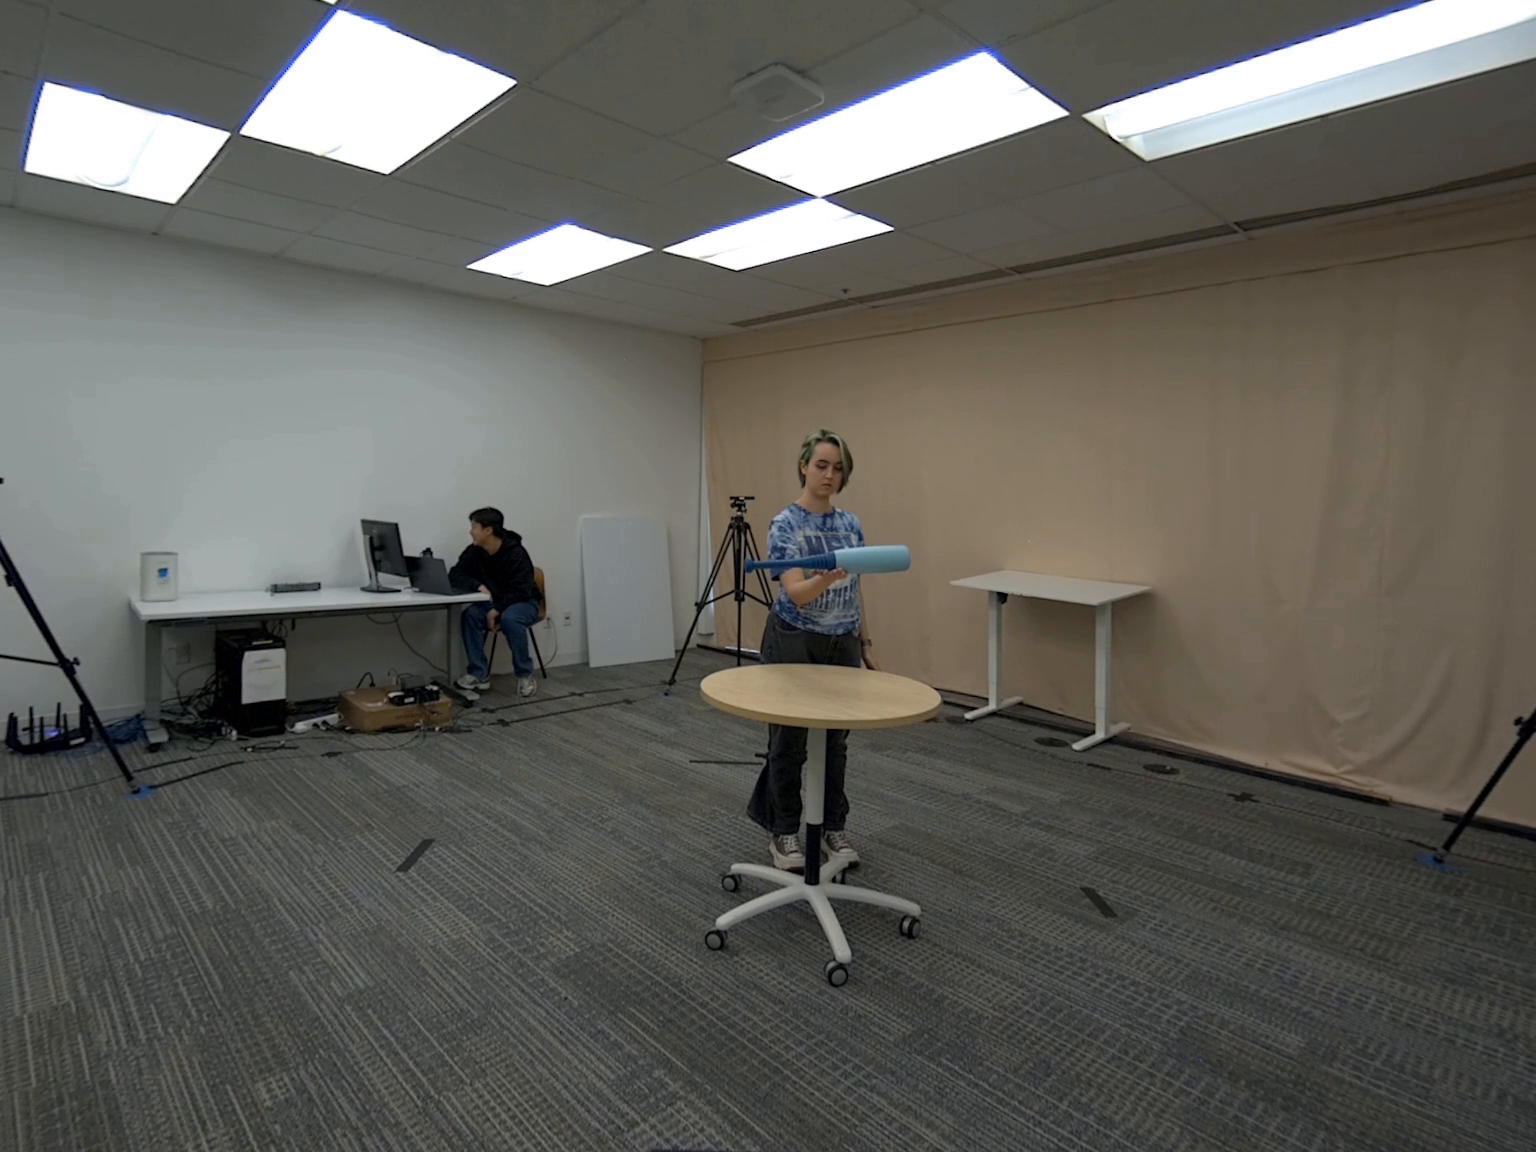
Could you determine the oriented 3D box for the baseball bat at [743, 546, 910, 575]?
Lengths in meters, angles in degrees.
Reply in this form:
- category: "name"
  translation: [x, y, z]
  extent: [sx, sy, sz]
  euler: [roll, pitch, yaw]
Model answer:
- category: "baseball bat"
  translation: [0.187, -0.041, 2.716]
  extent: [0.539, 0.089, 0.090]
  euler: [-3, 5, -8]
